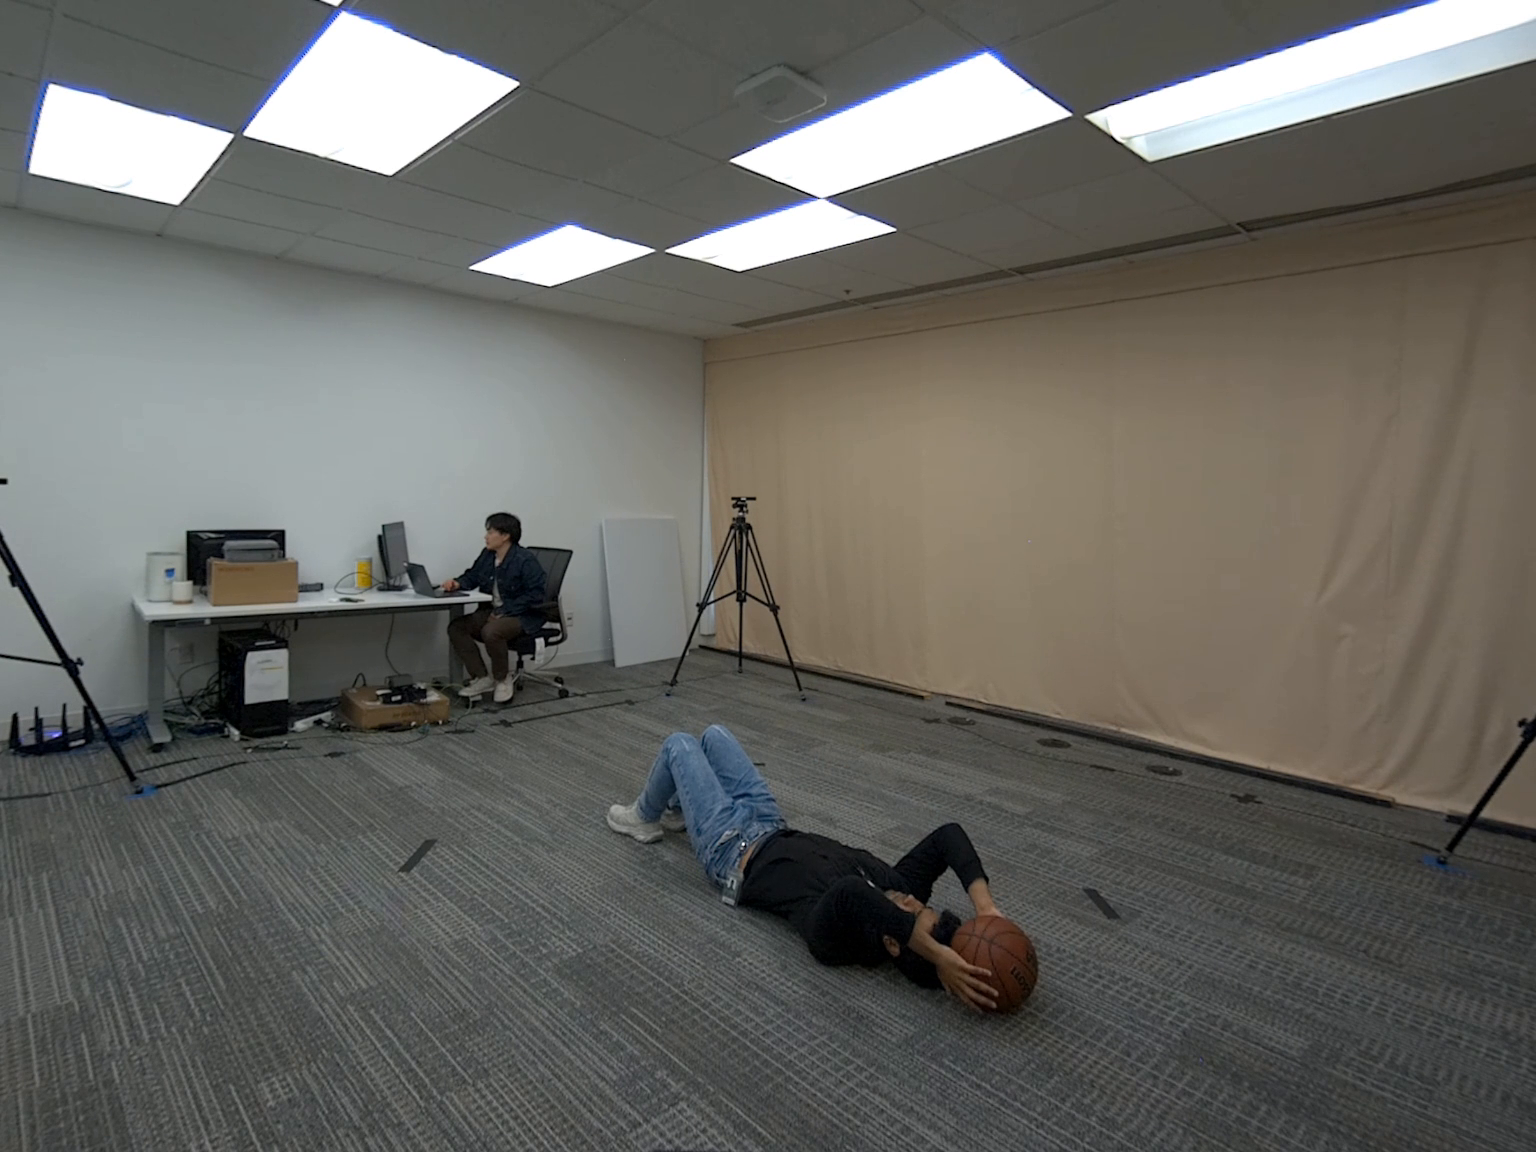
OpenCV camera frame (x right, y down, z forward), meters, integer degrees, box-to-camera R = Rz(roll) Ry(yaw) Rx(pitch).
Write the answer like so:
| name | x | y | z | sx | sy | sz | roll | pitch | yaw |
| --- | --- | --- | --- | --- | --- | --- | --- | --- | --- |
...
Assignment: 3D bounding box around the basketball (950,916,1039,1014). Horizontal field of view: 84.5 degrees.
| name | x | y | z | sx | sy | sz | roll | pitch | yaw |
| --- | --- | --- | --- | --- | --- | --- | --- | --- | --- |
| basketball | 0.617 | 1.076 | 2.347 | 0.236 | 0.235 | 0.237 | 1 | 4 | -1 |
